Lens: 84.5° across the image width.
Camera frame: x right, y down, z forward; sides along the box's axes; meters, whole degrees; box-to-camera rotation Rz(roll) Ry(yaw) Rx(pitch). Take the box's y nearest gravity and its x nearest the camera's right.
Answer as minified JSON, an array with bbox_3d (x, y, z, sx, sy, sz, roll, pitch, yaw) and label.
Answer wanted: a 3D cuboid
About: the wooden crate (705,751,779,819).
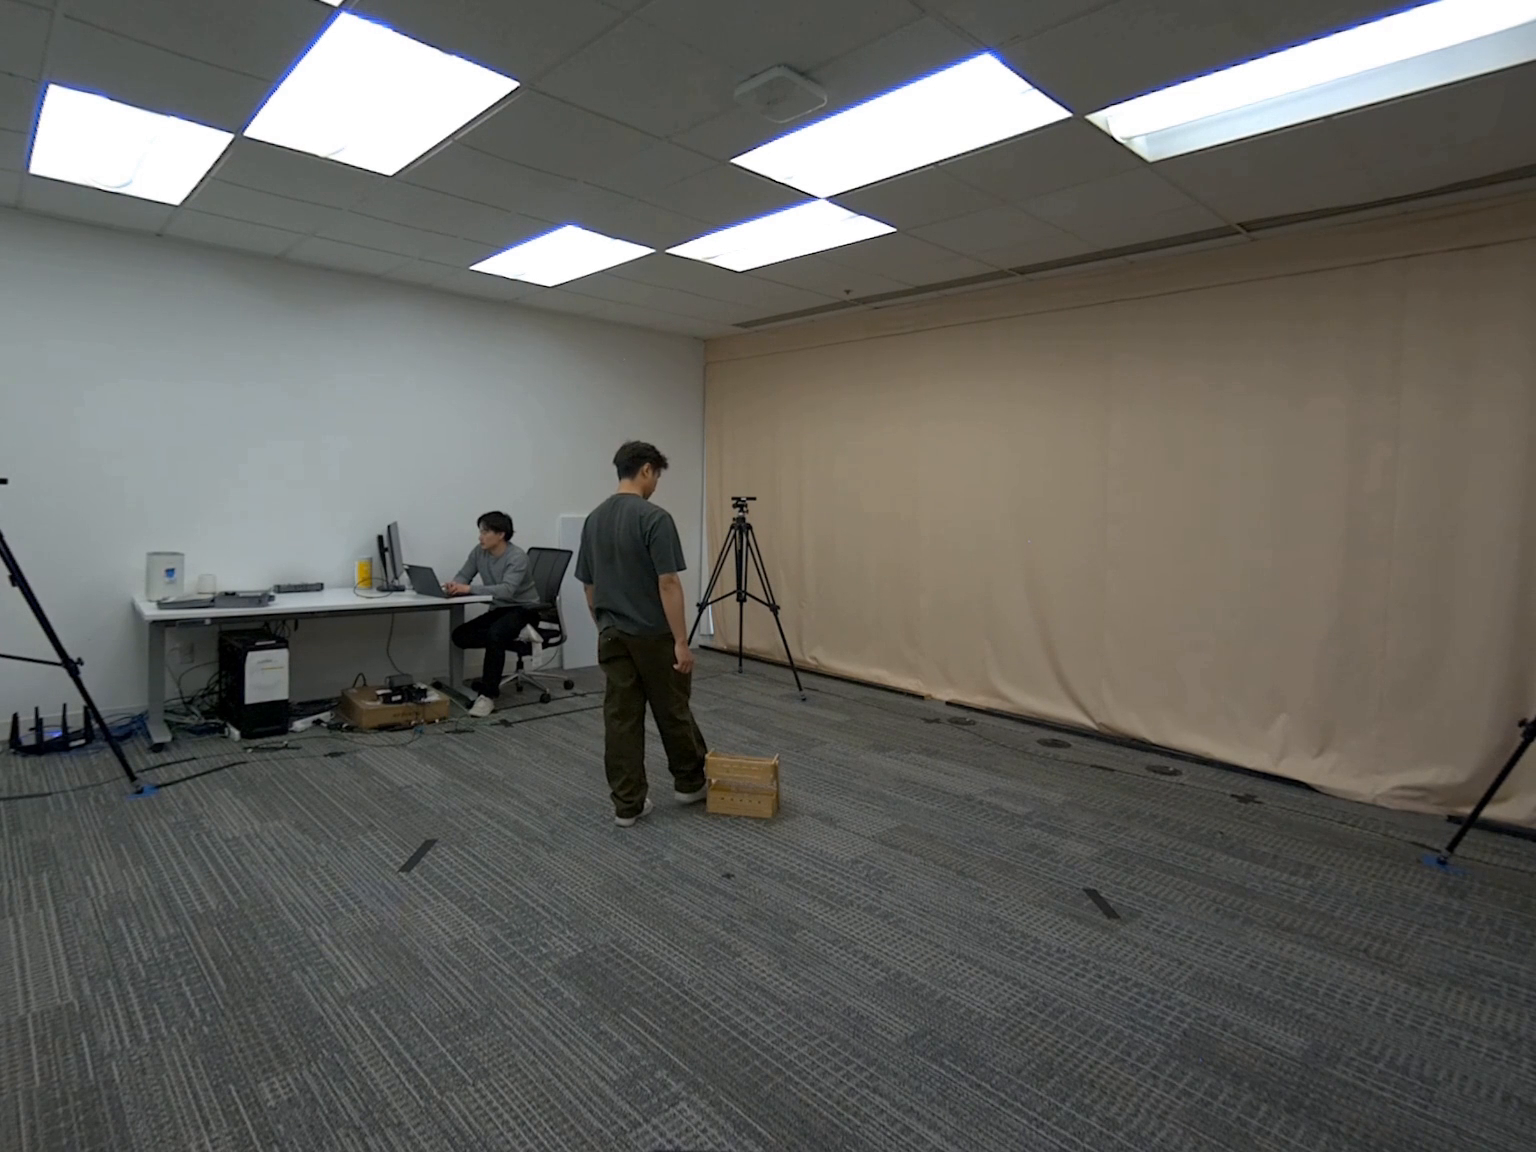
[{"bbox_3d":[-0.120,0.919,3.814,0.327,0.273,0.300,2,2,10],"label":"wooden crate"}]
